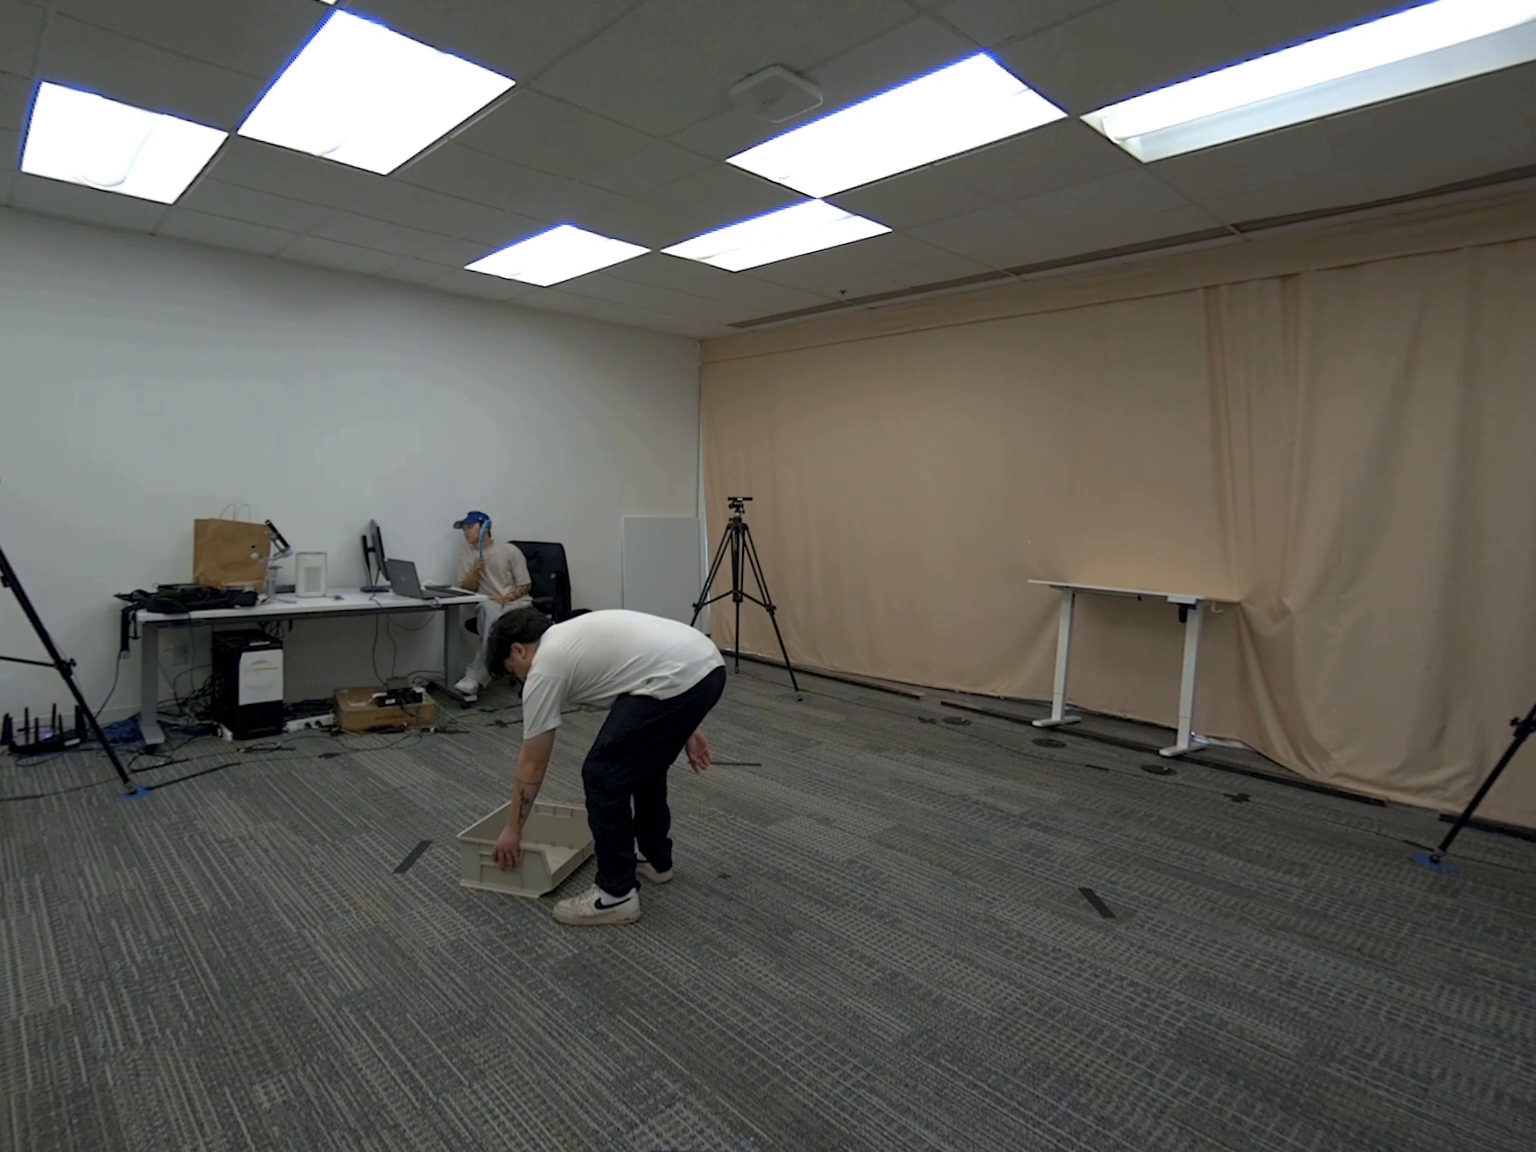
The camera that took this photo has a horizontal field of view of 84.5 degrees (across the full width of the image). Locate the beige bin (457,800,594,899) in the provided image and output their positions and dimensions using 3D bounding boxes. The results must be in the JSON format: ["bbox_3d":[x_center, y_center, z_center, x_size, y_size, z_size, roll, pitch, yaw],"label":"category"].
[{"bbox_3d":[-0.875,0.999,3.125,0.382,0.188,0.418,2,6,14],"label":"beige bin"}]
